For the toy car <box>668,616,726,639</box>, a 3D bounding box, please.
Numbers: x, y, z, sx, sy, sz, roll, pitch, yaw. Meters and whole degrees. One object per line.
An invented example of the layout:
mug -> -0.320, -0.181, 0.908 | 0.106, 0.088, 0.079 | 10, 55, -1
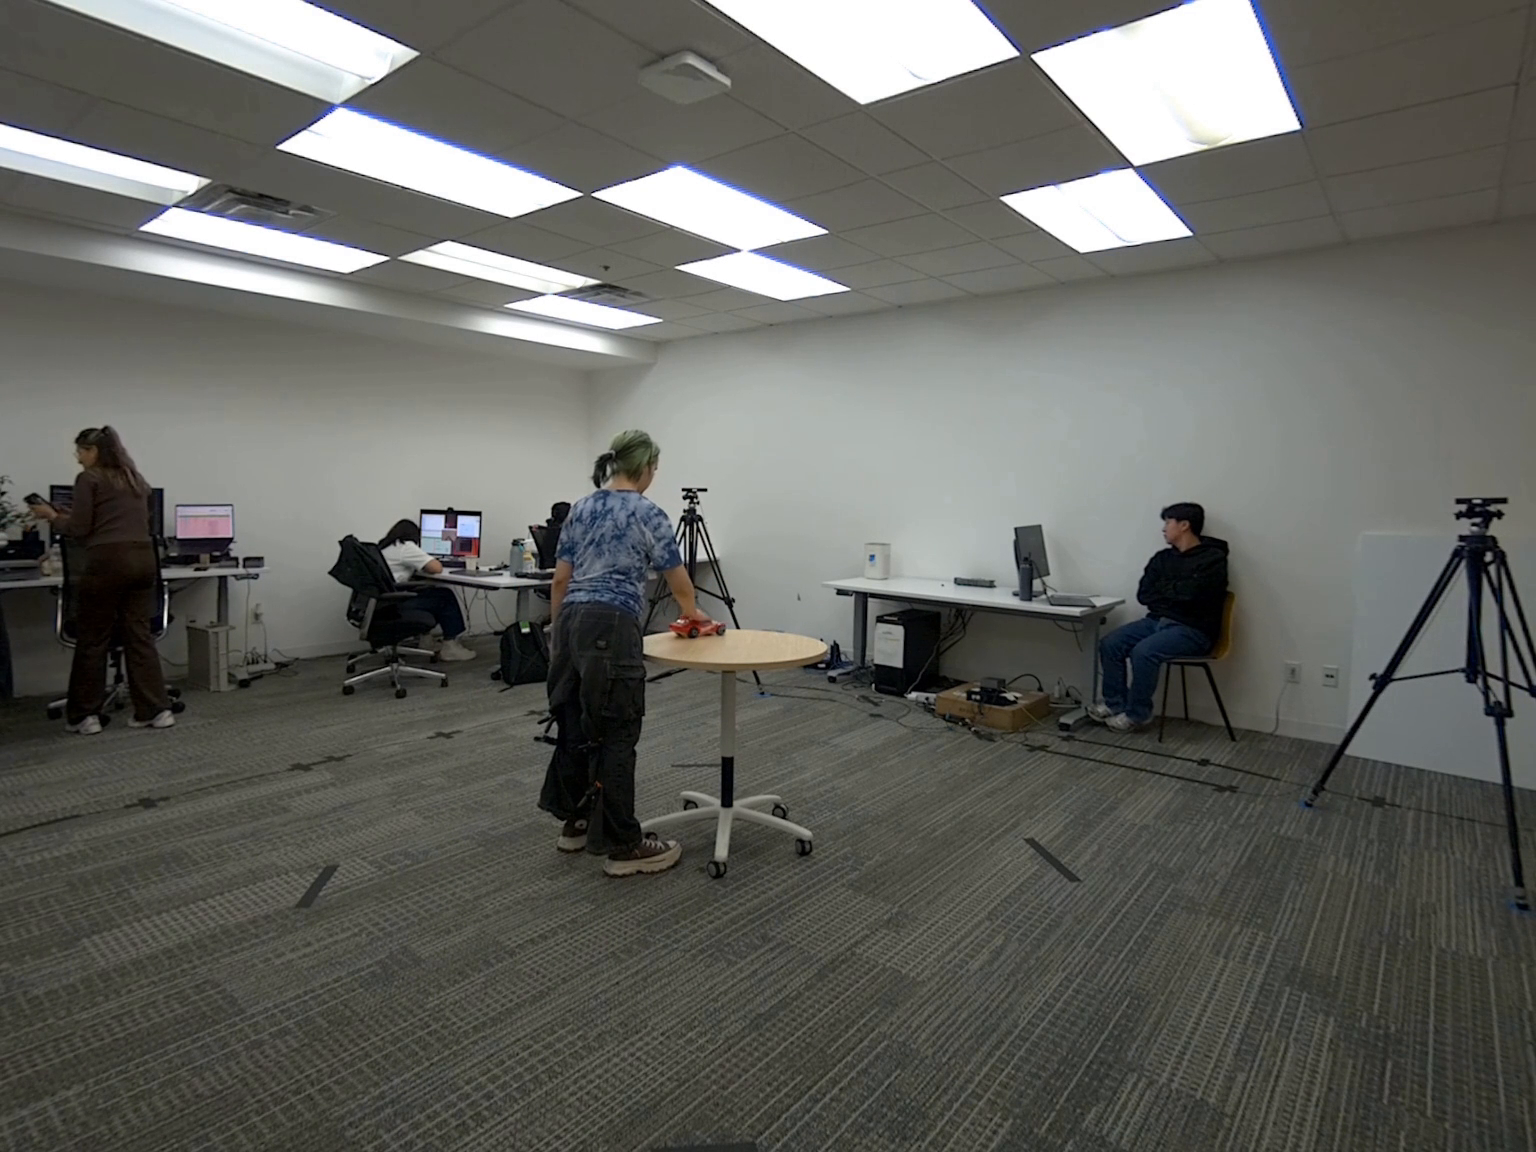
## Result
toy car -> -0.311, 0.215, 3.542 | 0.245, 0.083, 0.134 | 11, -4, -39
